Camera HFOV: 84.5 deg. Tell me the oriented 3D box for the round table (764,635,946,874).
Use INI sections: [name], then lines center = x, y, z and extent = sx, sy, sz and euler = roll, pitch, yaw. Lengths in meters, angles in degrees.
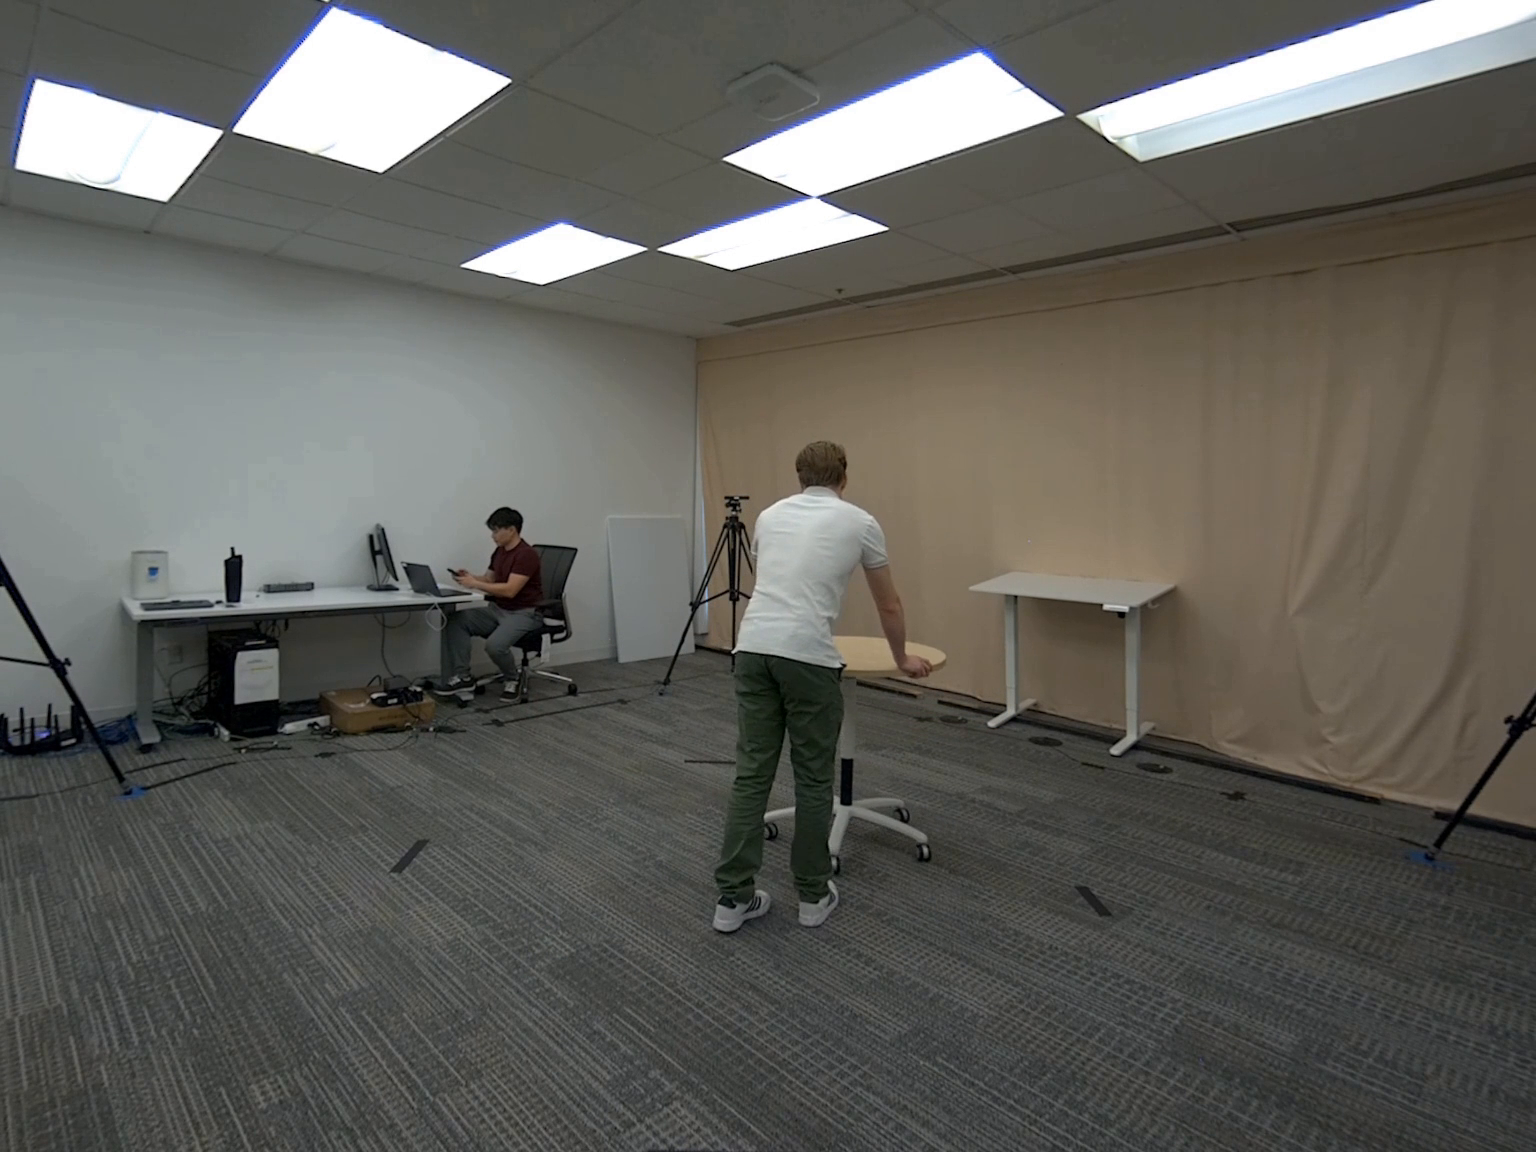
[round table]
center = 0.325, 0.700, 3.464
extent = 0.763, 0.792, 0.766
euler = 1, 4, -1
